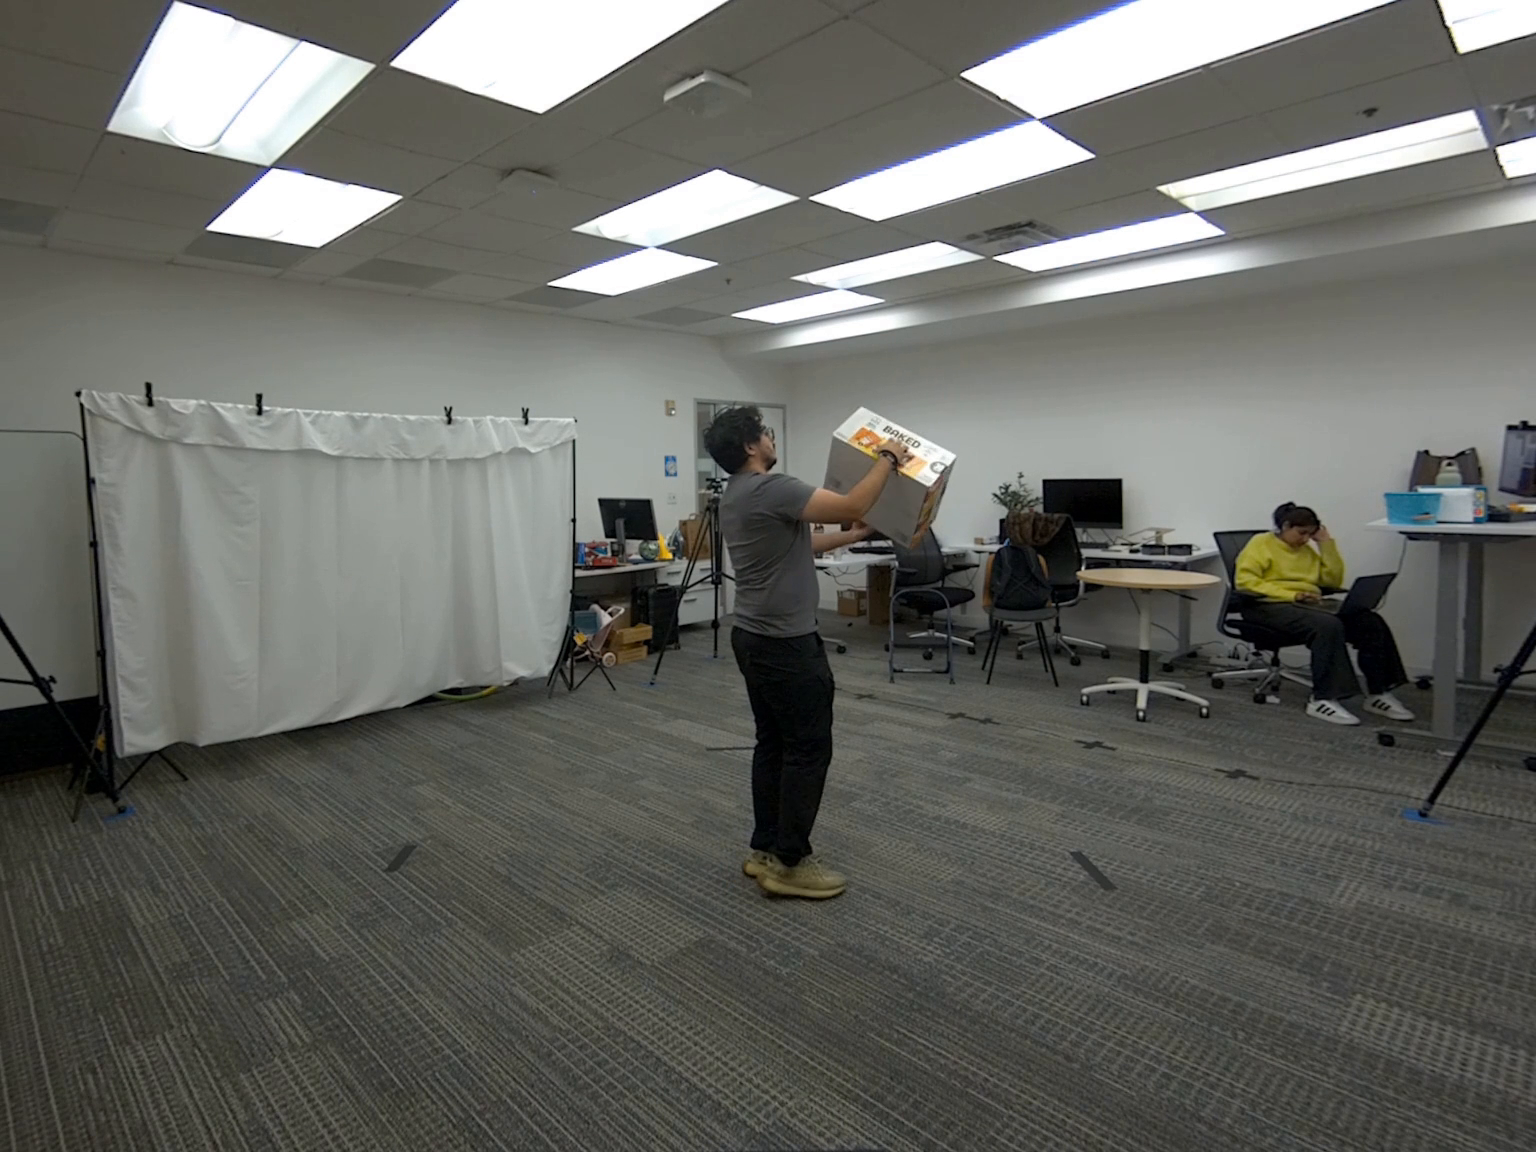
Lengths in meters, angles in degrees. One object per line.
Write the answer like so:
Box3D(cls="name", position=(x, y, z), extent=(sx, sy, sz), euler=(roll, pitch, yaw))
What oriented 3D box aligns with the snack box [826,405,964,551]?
Box3D(cls="snack box", position=(0.452, -0.366, 3.181), extent=(0.416, 0.332, 0.205), euler=(32, 56, 22))
